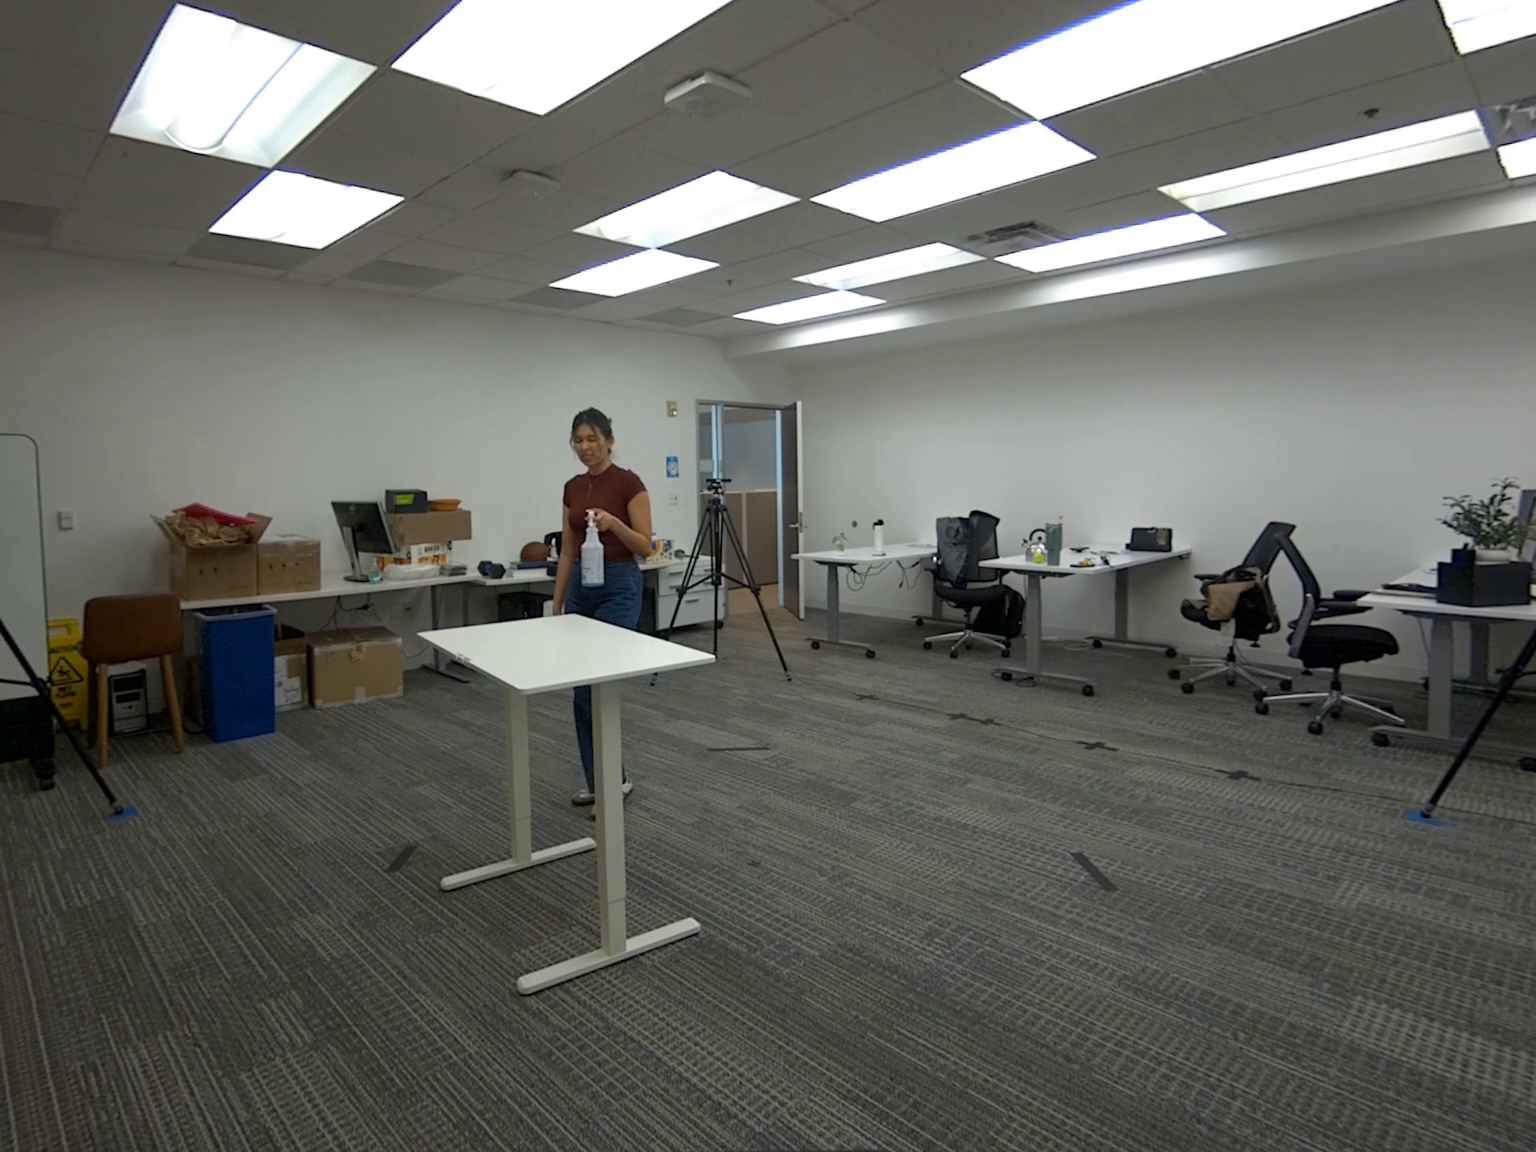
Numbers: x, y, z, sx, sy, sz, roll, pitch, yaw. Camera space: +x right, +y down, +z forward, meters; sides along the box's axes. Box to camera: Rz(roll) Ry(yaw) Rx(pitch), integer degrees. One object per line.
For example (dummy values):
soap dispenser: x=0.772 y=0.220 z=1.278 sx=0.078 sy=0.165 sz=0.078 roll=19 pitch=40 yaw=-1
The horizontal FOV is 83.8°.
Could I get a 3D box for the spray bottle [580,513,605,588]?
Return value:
spray bottle: x=-0.701 y=-0.105 z=3.388 sx=0.089 sy=0.295 sz=0.089 roll=5 pitch=8 yaw=20
